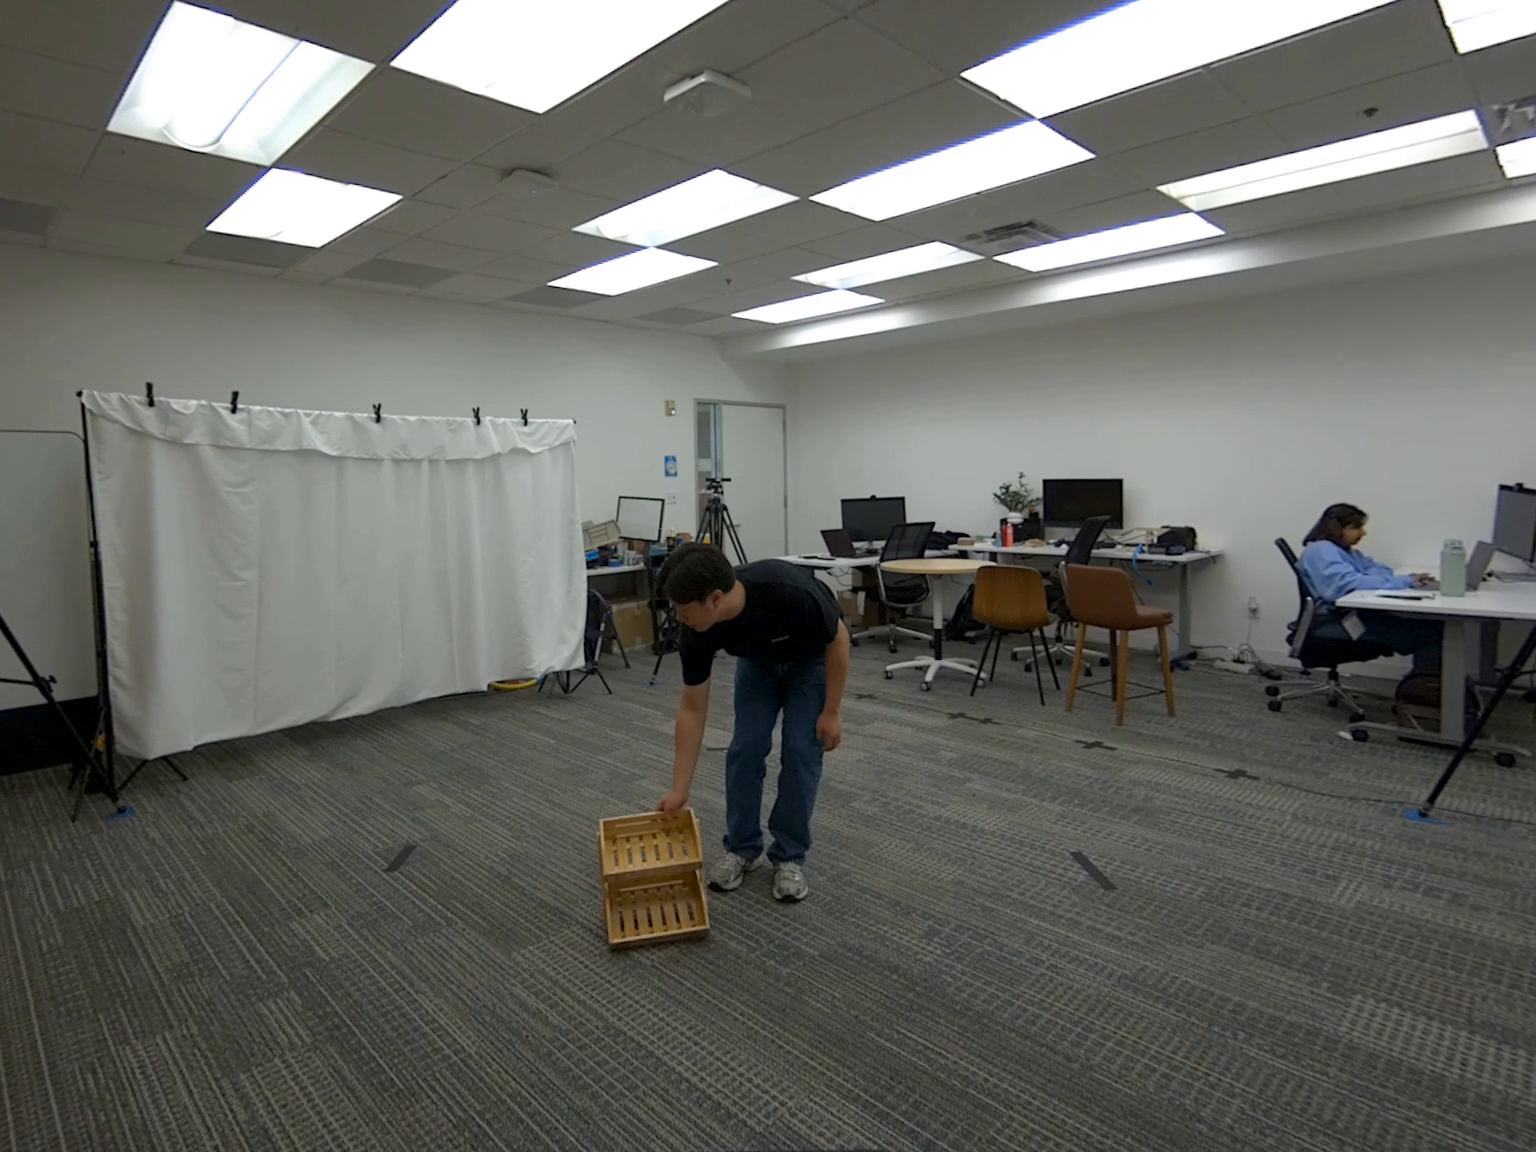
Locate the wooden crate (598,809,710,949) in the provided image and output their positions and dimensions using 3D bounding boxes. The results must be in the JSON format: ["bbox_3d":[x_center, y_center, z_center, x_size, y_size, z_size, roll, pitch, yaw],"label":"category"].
[{"bbox_3d":[-0.356,0.934,2.647,0.322,0.269,0.309,-4,17,-8],"label":"wooden crate"}]
